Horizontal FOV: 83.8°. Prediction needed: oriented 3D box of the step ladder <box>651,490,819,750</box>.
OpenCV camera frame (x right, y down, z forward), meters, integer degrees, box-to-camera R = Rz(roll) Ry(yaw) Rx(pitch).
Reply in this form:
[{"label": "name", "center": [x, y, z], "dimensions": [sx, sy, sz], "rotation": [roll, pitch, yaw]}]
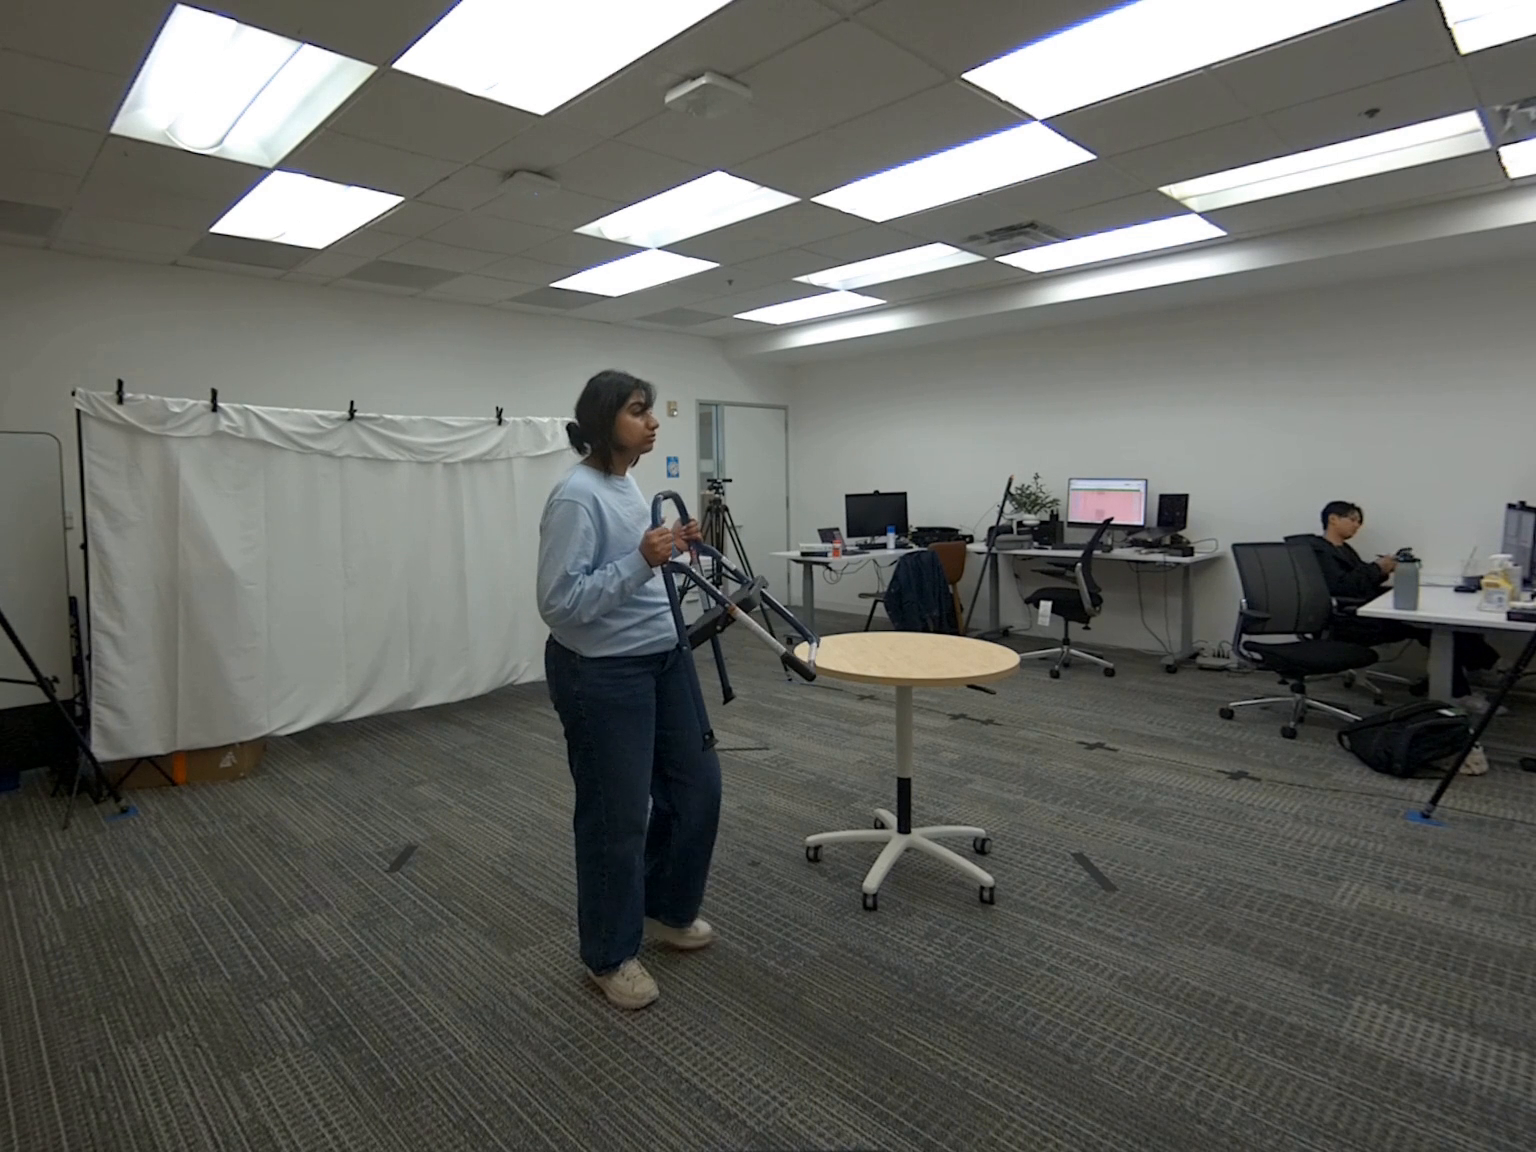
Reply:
[{"label": "step ladder", "center": [-0.168, 0.069, 2.332], "dimensions": [0.350, 0.605, 0.430], "rotation": [-34, 2, 8]}]
